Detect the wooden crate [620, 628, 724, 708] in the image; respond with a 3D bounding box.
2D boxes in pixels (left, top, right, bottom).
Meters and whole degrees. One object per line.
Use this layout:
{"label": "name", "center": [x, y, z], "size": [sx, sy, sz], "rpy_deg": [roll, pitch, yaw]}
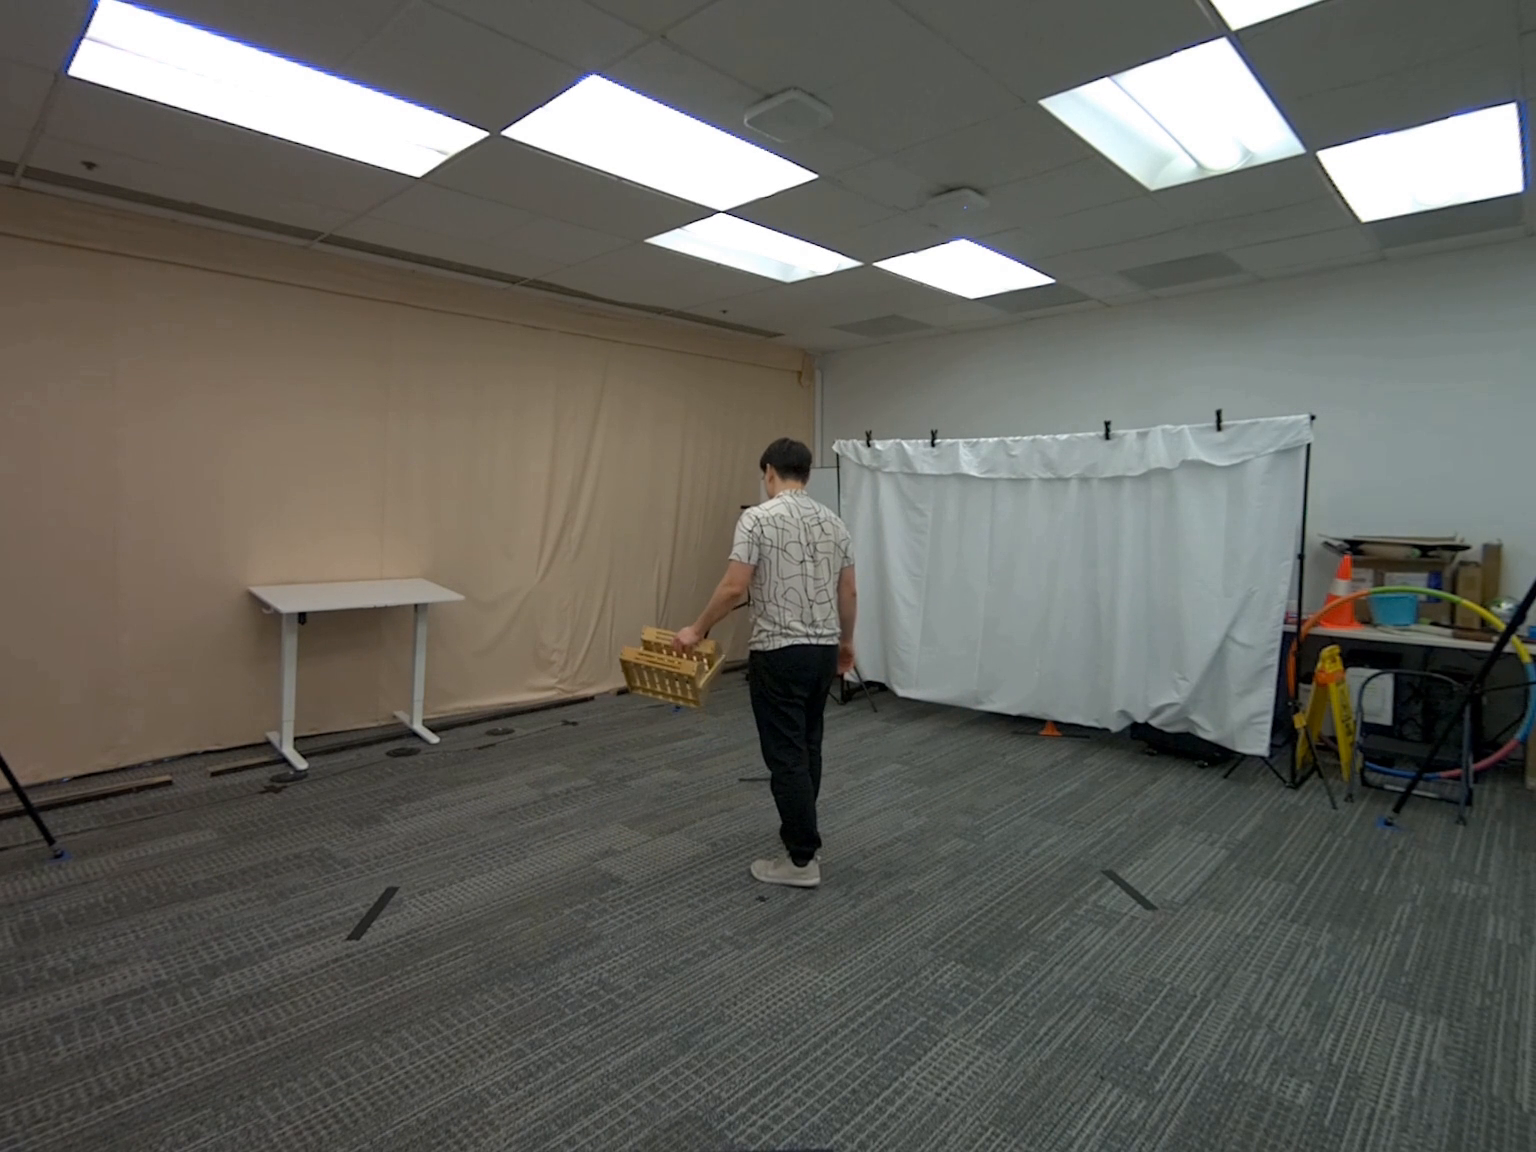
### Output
{"label": "wooden crate", "center": [-0.356, 0.324, 3.270], "size": [0.331, 0.295, 0.274], "rpy_deg": [11, 49, 16]}
